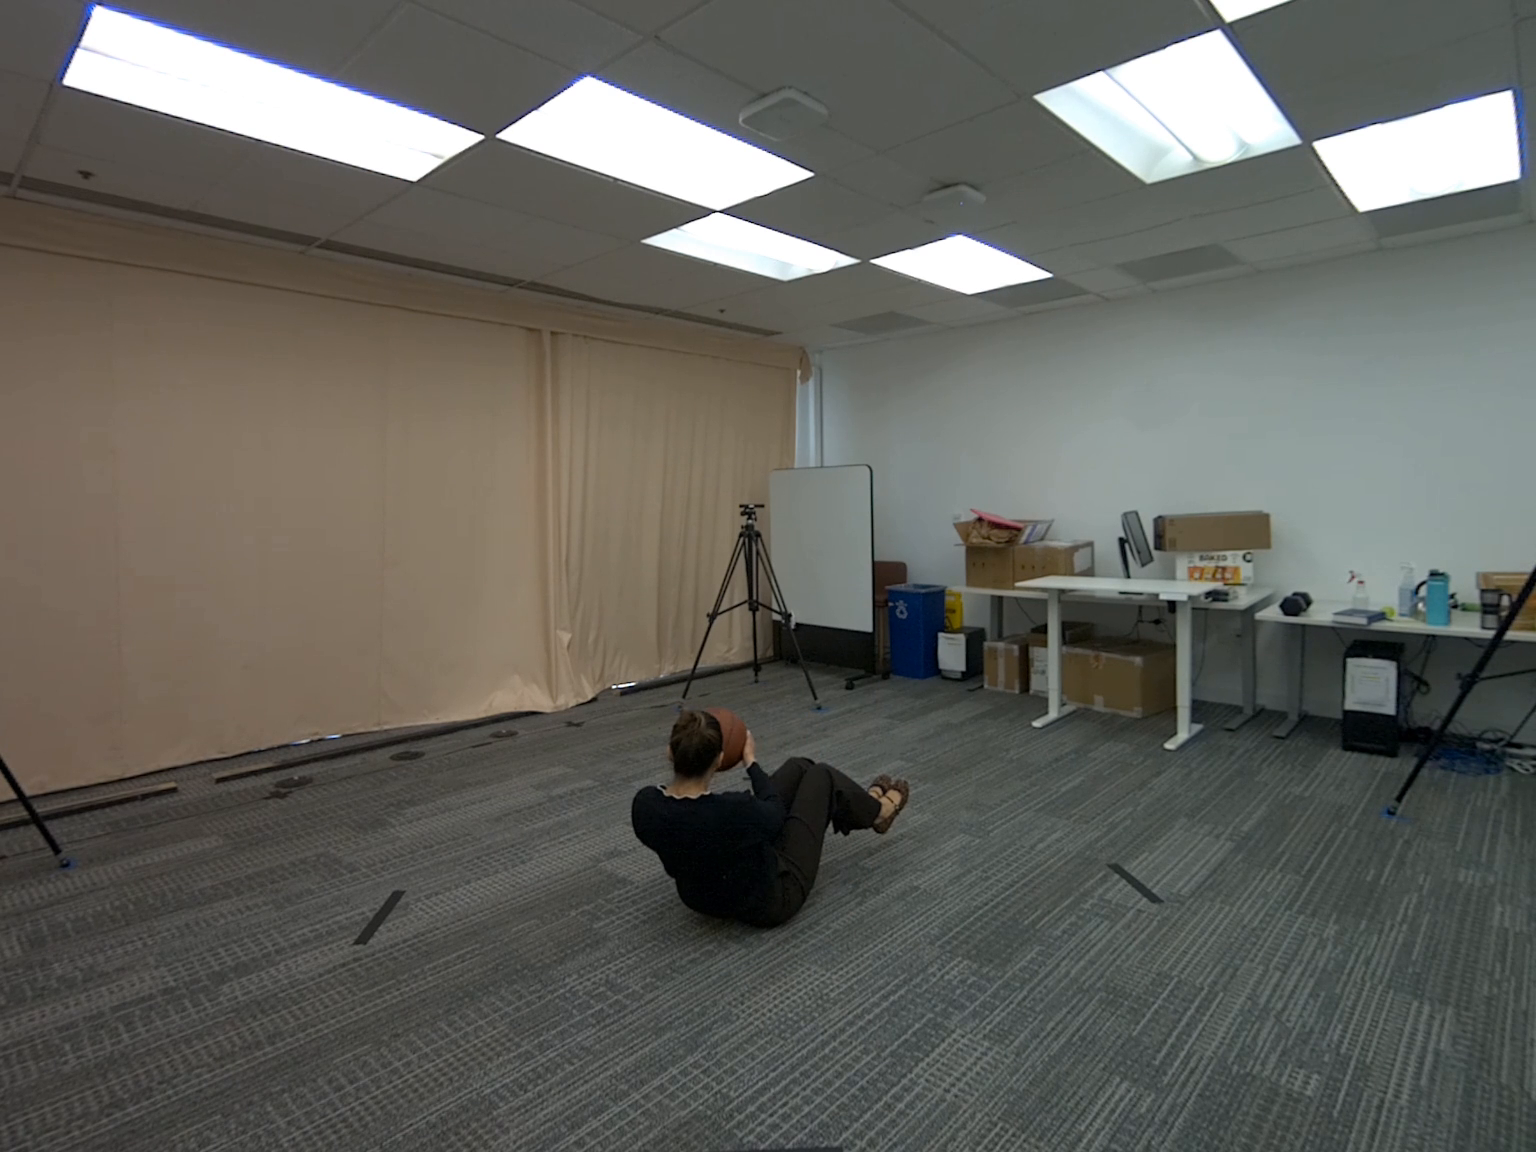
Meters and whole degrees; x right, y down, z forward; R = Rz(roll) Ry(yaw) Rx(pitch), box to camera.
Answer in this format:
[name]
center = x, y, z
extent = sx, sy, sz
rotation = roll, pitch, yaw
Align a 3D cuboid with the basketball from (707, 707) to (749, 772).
[basketball]
center = -0.182, 0.610, 3.107
extent = 0.236, 0.235, 0.237
rotation = -1, 4, -2
